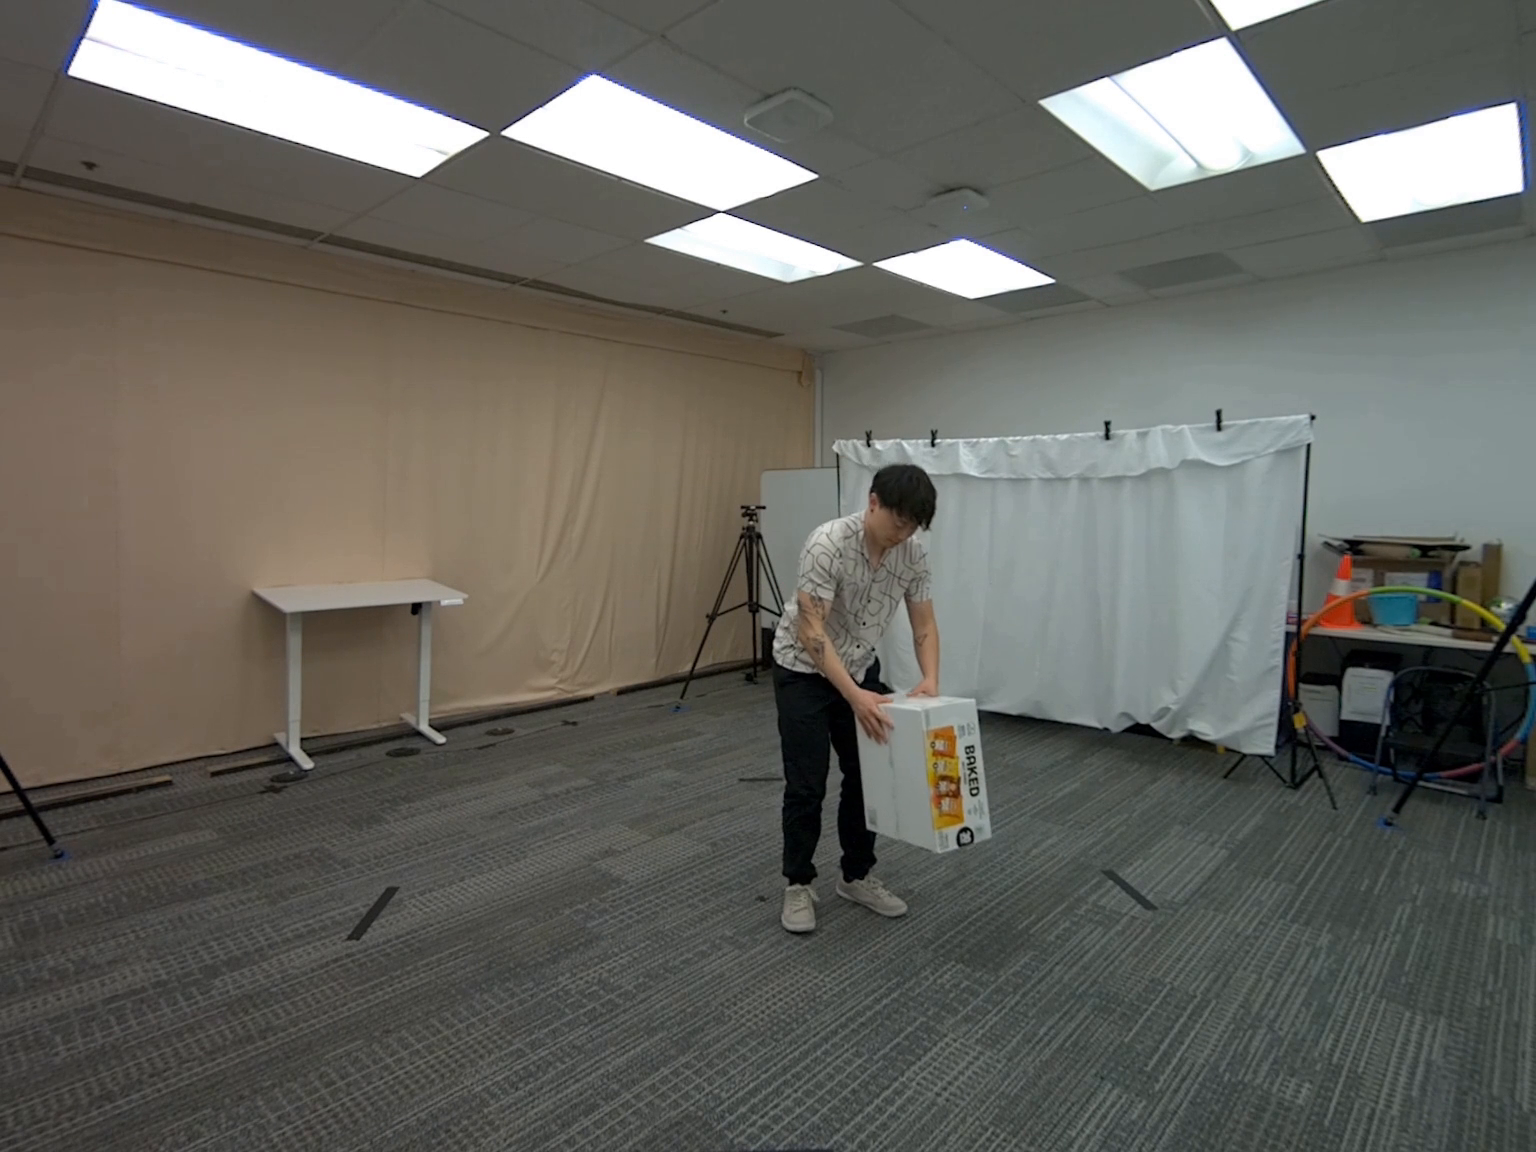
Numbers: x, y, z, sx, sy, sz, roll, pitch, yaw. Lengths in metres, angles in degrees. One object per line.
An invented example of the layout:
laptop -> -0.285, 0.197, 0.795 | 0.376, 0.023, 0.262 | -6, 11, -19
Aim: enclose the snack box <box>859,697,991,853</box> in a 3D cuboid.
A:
snack box -> 0.460, 0.585, 2.555 | 0.201, 0.406, 0.348 | -5, -2, -28
